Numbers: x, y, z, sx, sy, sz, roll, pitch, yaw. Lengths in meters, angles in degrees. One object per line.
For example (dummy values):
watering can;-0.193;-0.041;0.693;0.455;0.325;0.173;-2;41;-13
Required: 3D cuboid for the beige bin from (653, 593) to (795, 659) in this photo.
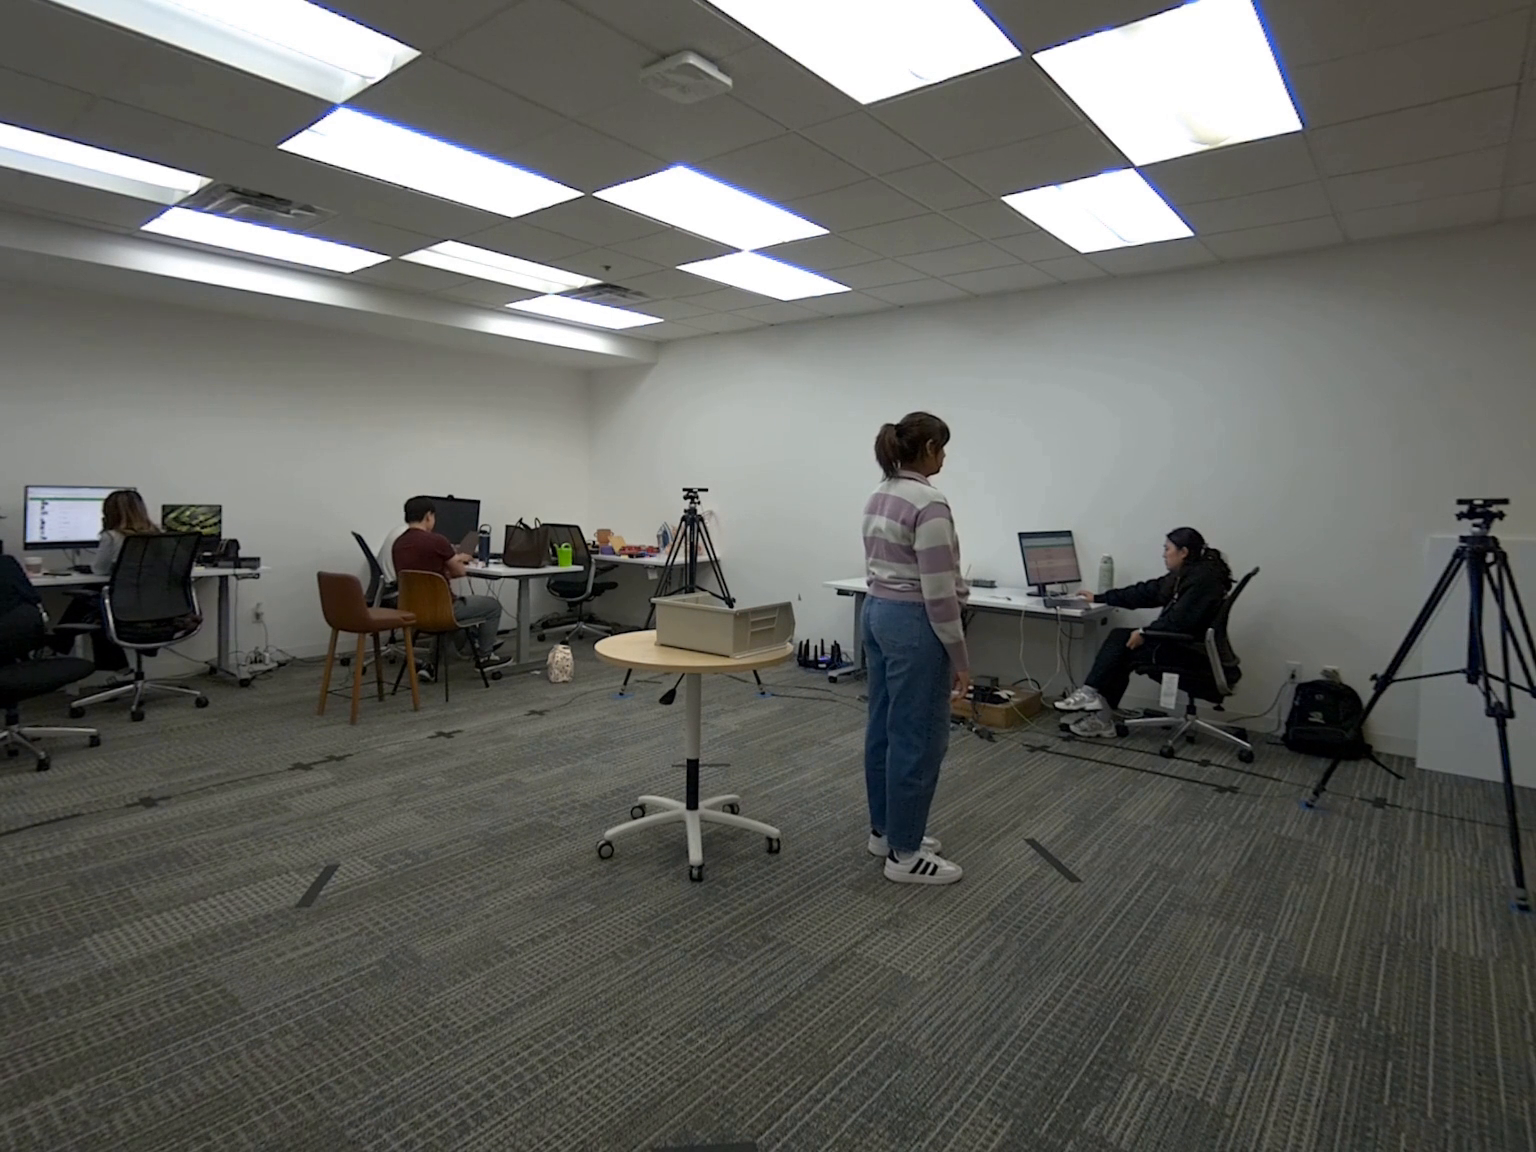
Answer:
beige bin;-0.184;0.180;3.298;0.436;0.188;0.367;6;8;38
